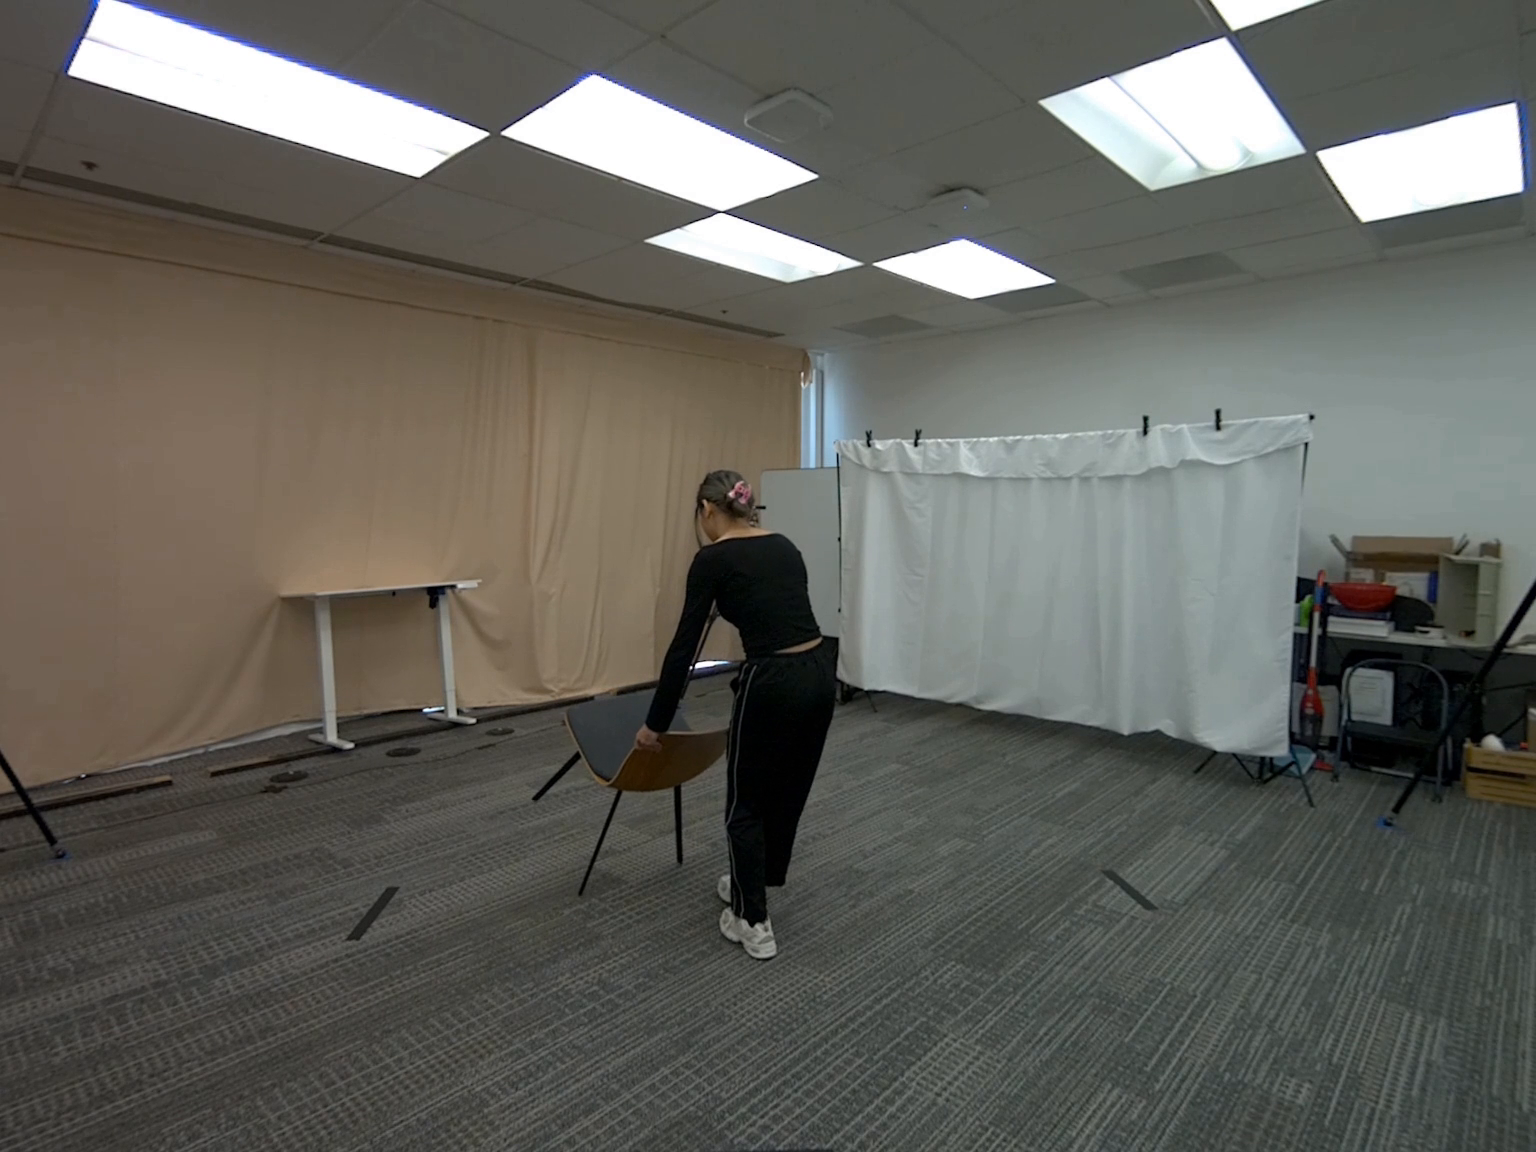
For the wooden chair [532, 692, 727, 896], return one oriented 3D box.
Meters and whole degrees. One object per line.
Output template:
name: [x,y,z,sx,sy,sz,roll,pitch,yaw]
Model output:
wooden chair: [-0.472,0.644,3.079,0.464,0.875,0.540,-3,43,-39]
